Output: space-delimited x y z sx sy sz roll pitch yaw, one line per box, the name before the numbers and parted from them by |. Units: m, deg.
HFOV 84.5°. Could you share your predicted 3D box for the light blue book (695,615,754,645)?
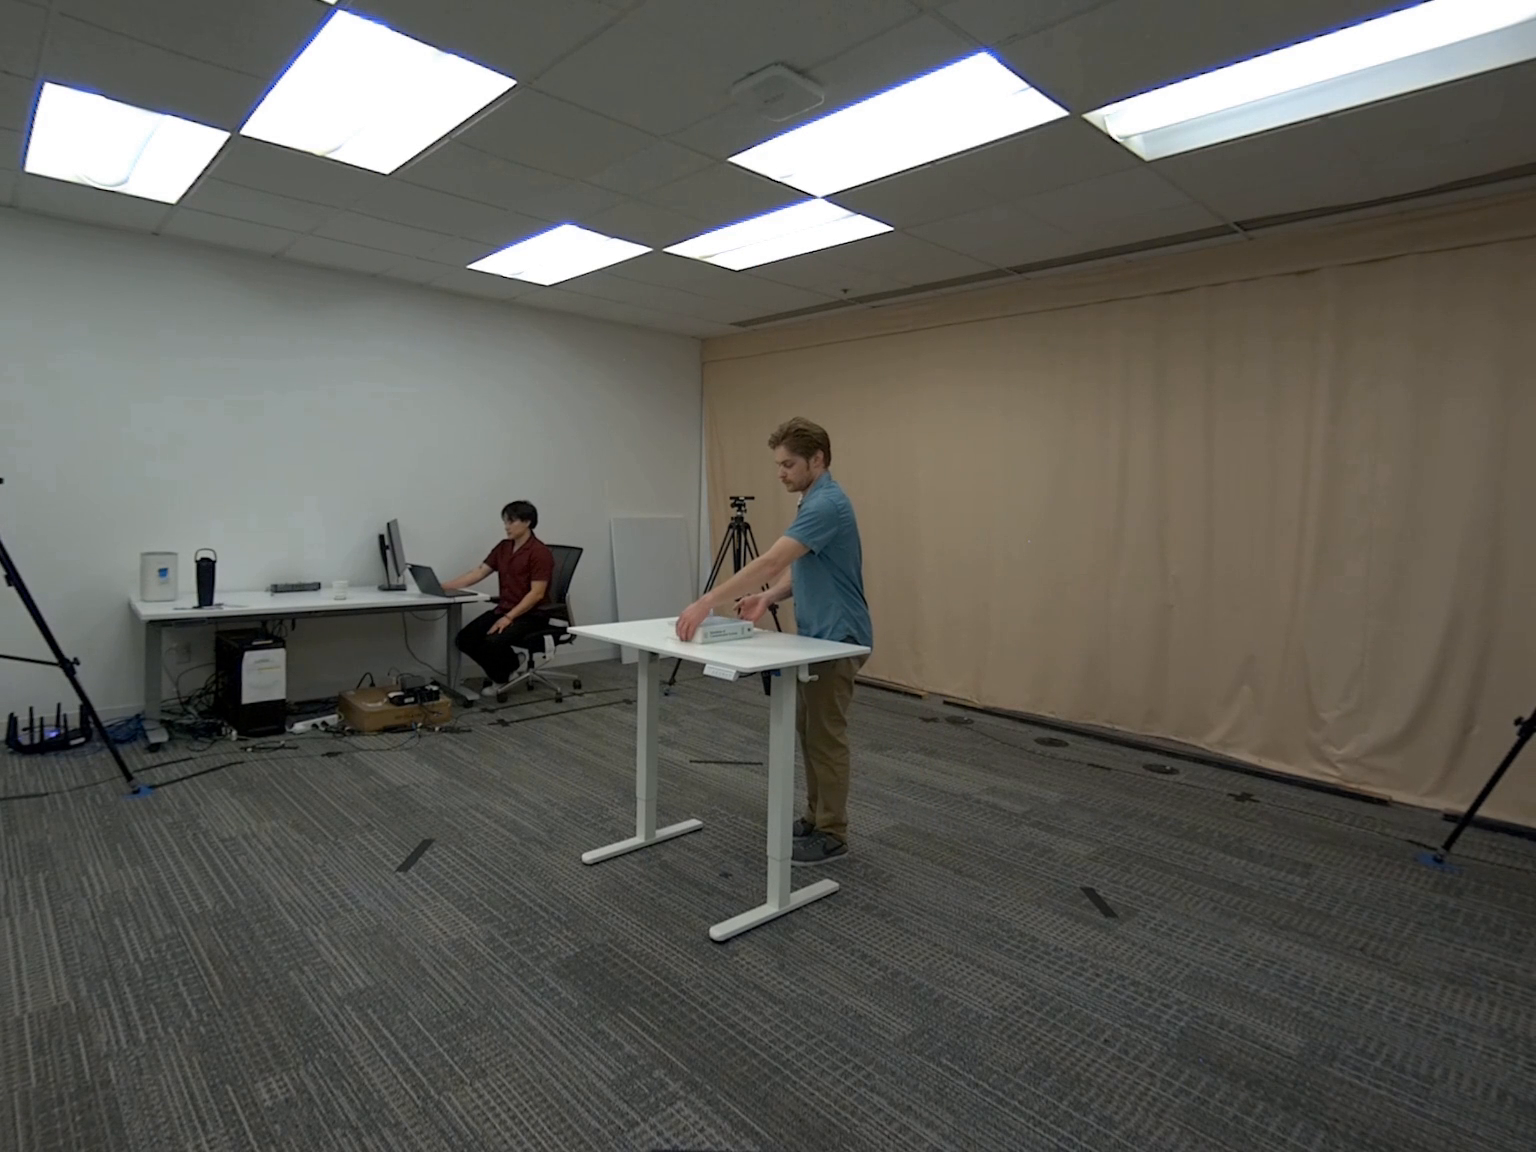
light blue book | -0.210 0.197 3.064 0.196 0.059 0.255 8 8 44
